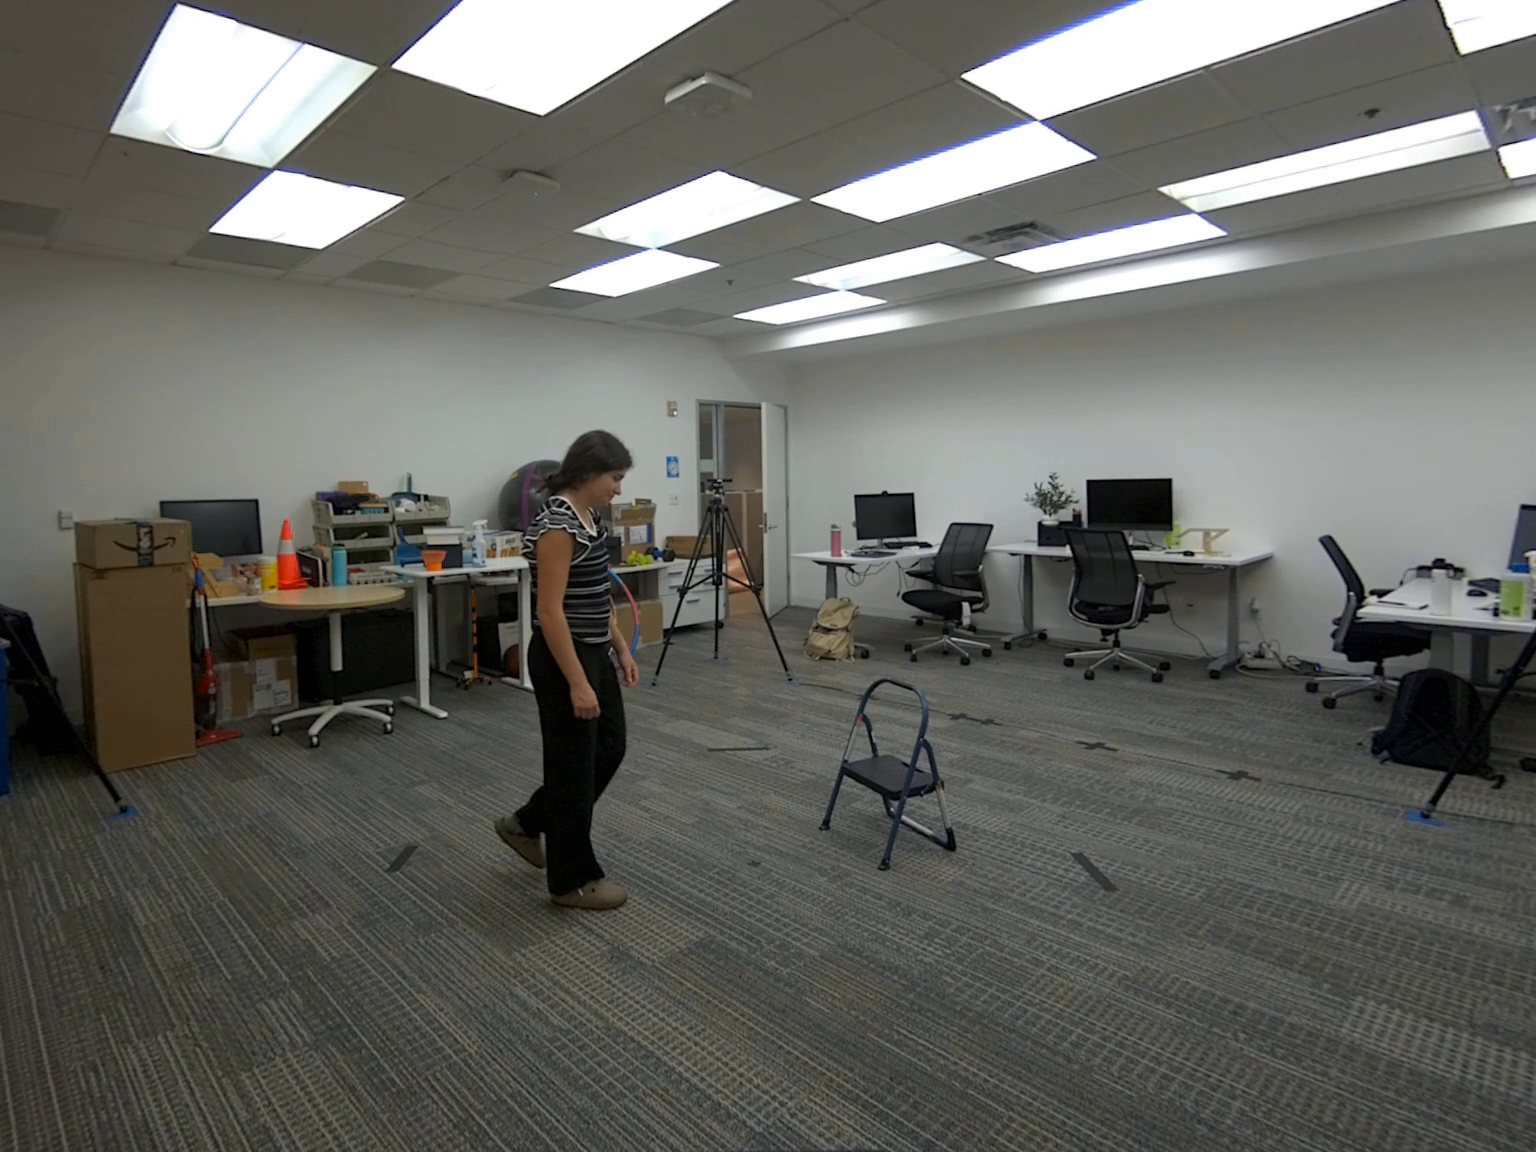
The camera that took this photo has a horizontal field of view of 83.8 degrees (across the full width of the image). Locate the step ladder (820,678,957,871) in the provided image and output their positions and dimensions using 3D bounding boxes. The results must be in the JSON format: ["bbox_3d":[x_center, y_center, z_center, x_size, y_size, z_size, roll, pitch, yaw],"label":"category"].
[{"bbox_3d":[0.452,0.714,3.276,0.341,0.604,0.442,-2,5,-27],"label":"step ladder"}]
